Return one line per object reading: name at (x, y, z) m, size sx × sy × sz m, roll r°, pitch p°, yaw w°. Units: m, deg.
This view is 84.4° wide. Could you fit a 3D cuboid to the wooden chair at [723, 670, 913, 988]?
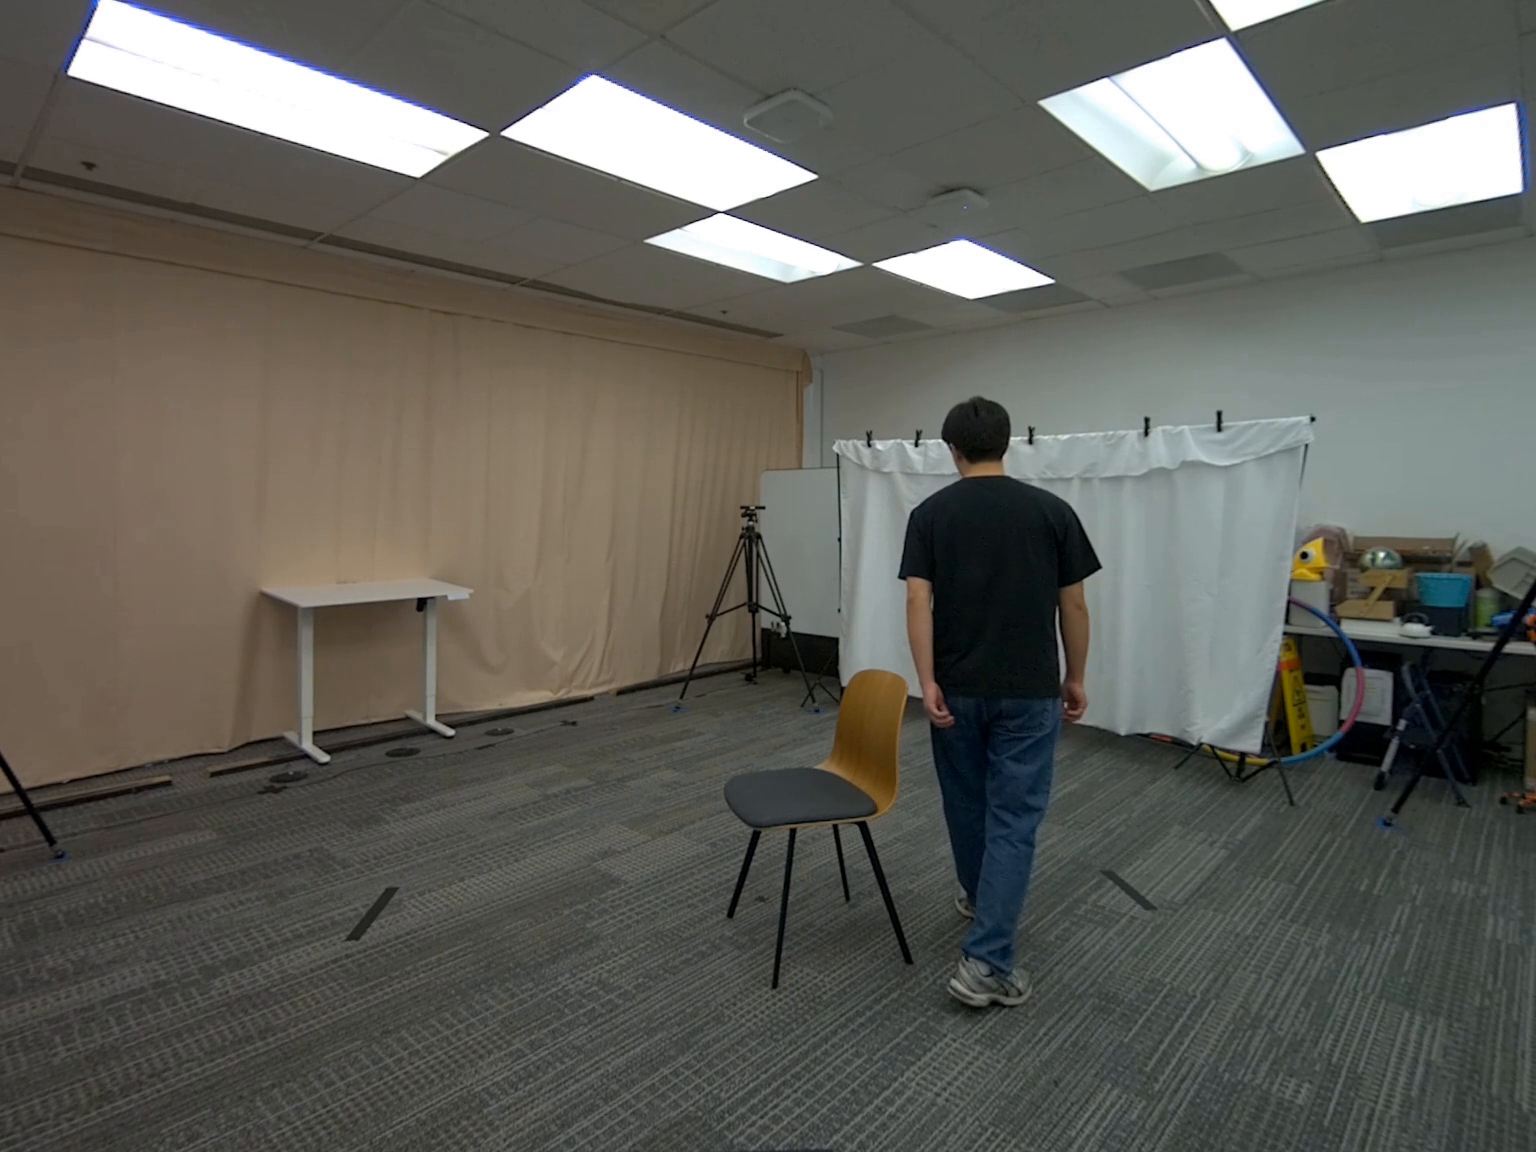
wooden chair at (0.149, 0.745, 2.674) m, size 0.513 × 0.876 × 0.488 m, roll 3°, pitch 2°, yaw -19°
